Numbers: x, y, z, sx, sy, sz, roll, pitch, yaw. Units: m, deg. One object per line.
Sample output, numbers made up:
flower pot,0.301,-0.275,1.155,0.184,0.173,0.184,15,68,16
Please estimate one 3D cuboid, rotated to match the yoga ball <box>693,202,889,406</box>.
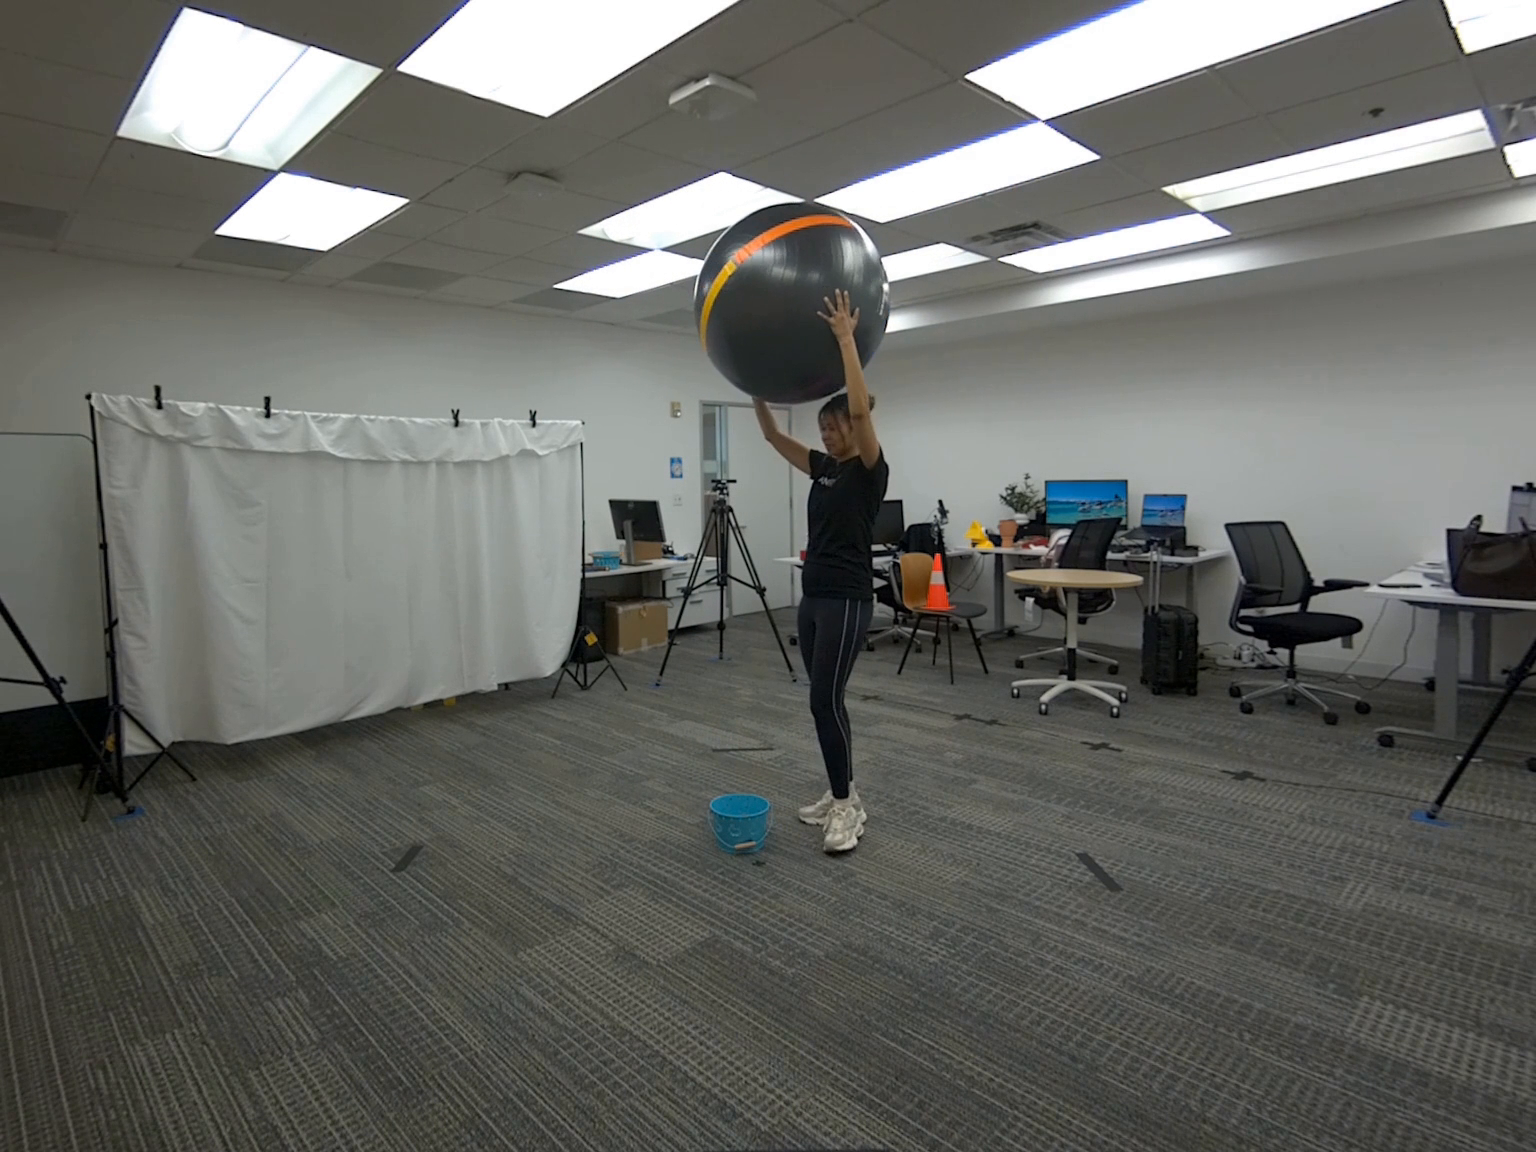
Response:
yoga ball,0.092,-1.049,3.326,0.757,0.755,0.762,-1,5,-2
